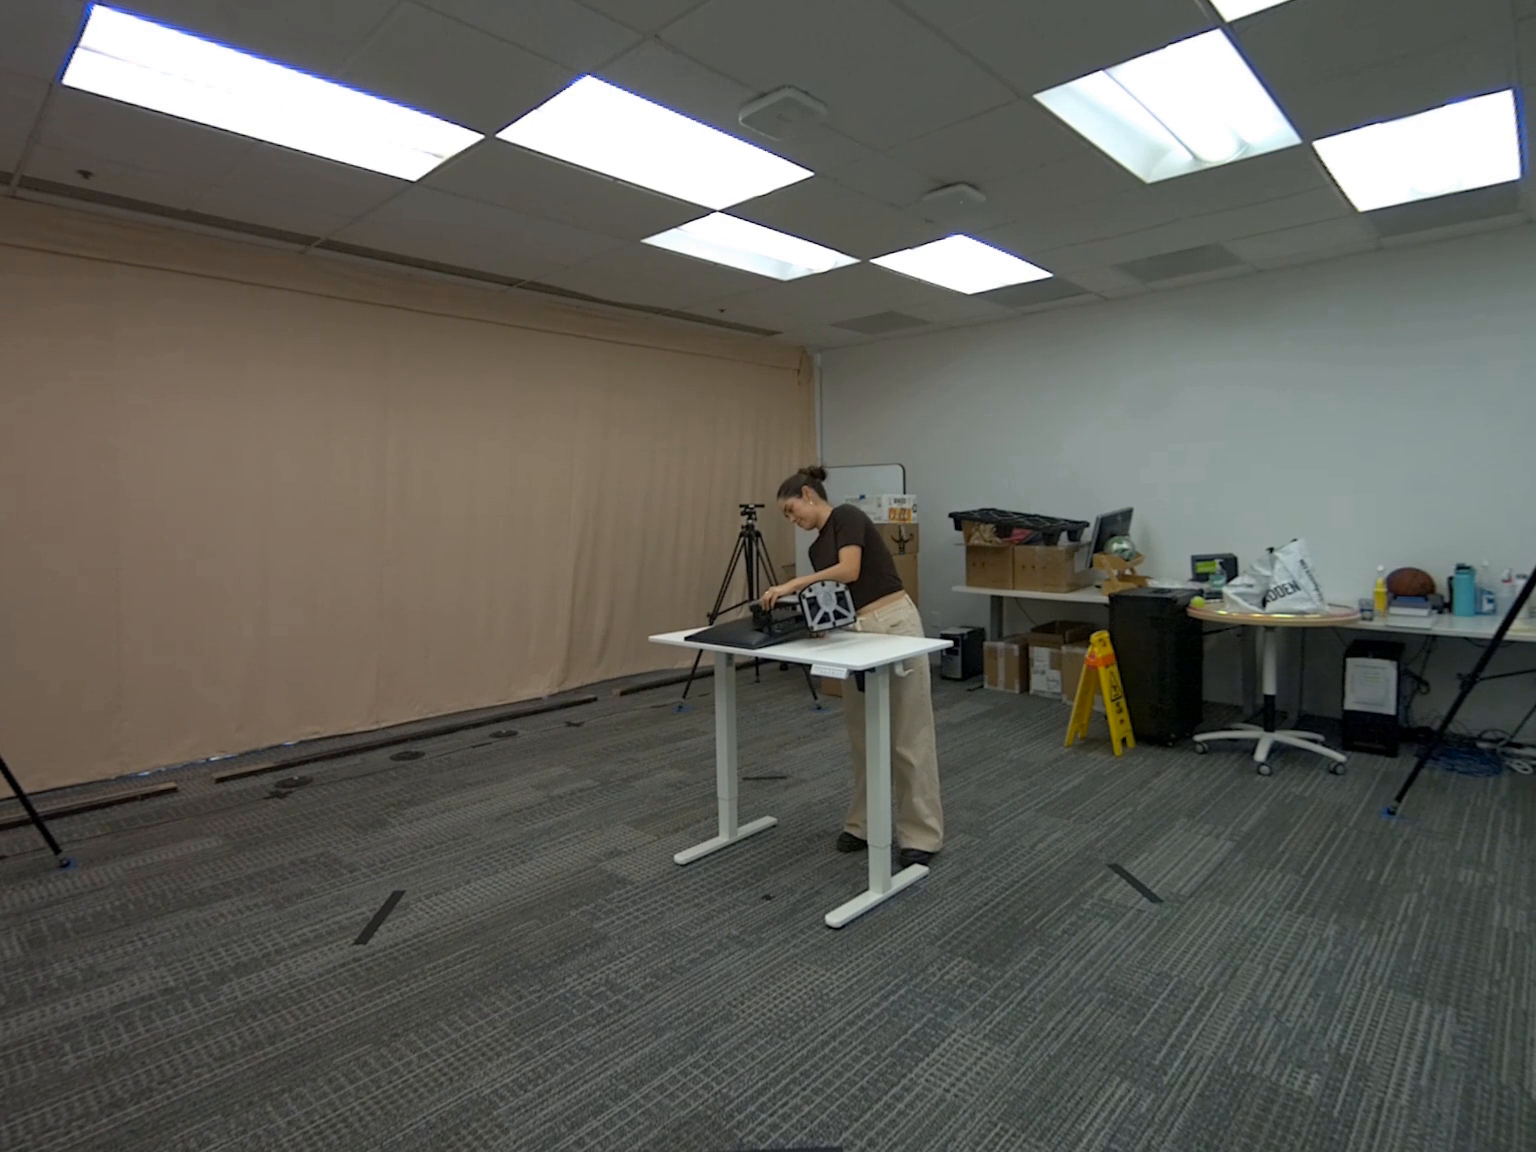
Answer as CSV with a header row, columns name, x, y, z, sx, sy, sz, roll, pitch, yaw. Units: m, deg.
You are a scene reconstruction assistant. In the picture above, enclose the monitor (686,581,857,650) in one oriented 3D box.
name,x,y,z,sx,sy,sz,roll,pitch,yaw
monitor,0.044,0.158,3.190,0.523,0.188,0.535,-8,-7,-46
